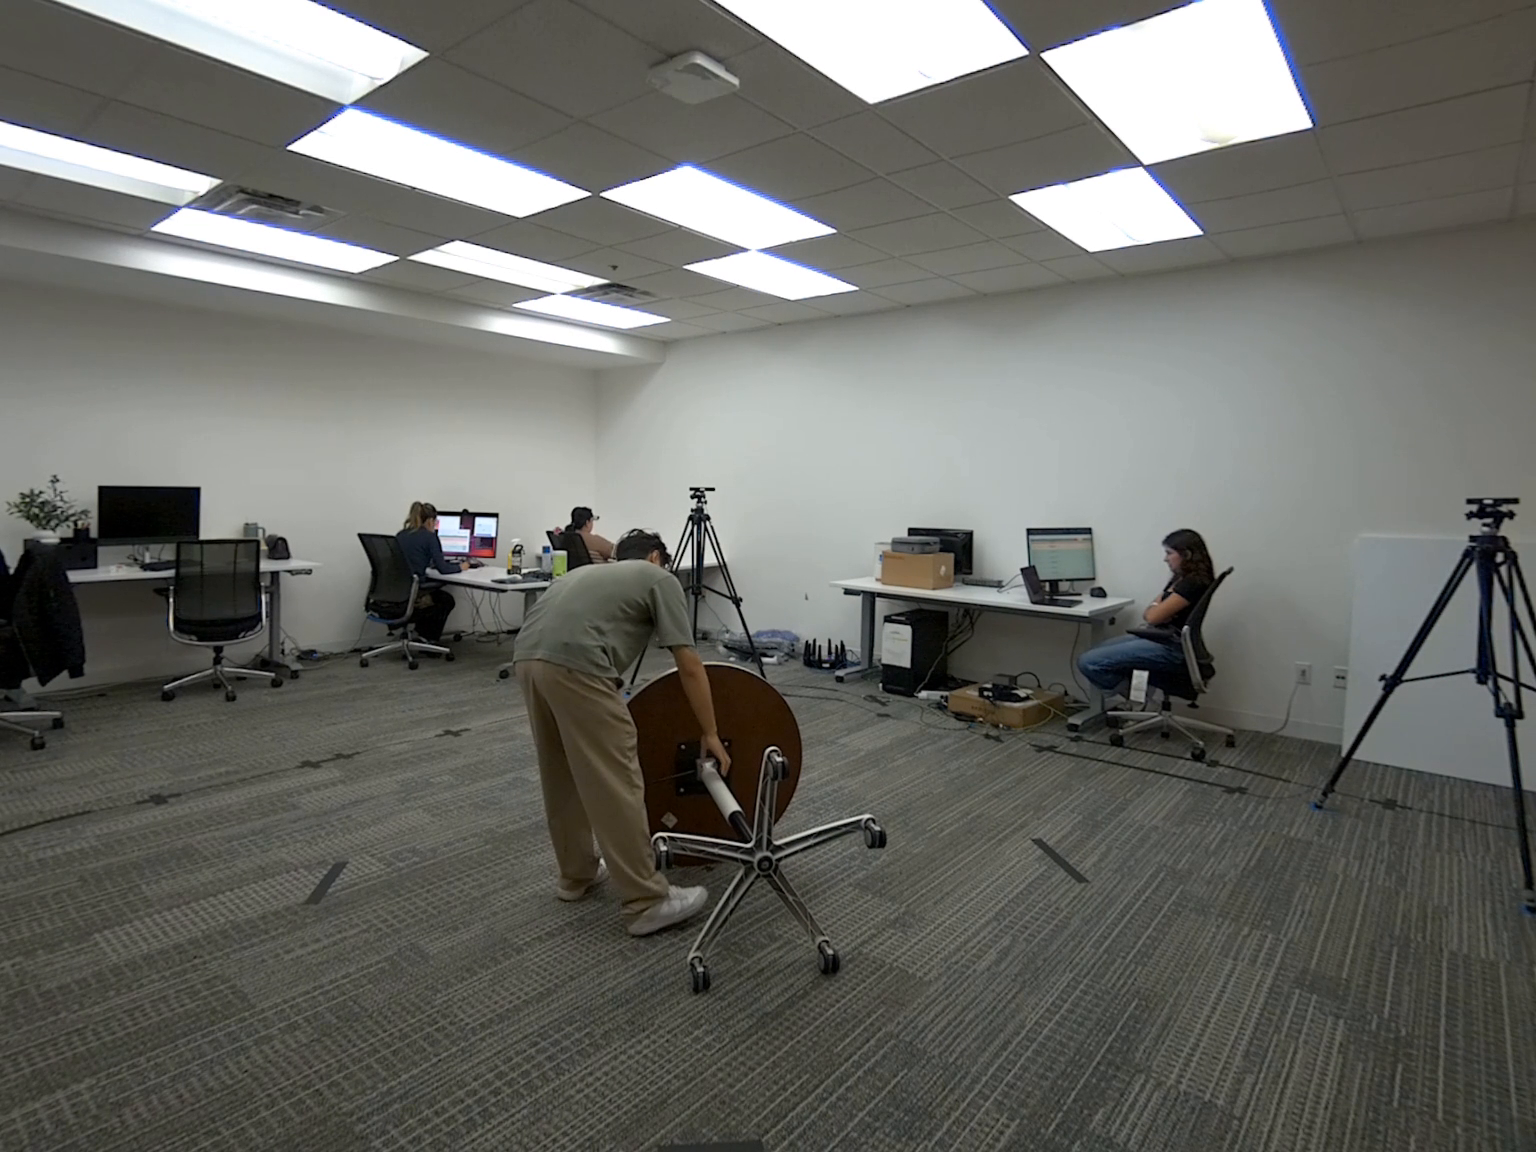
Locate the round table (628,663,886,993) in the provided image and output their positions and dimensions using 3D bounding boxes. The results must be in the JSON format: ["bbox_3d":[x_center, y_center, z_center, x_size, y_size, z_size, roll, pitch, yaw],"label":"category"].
[{"bbox_3d":[-0.121,0.770,2.722,0.771,0.778,0.807,0,10,-18],"label":"round table"}]
